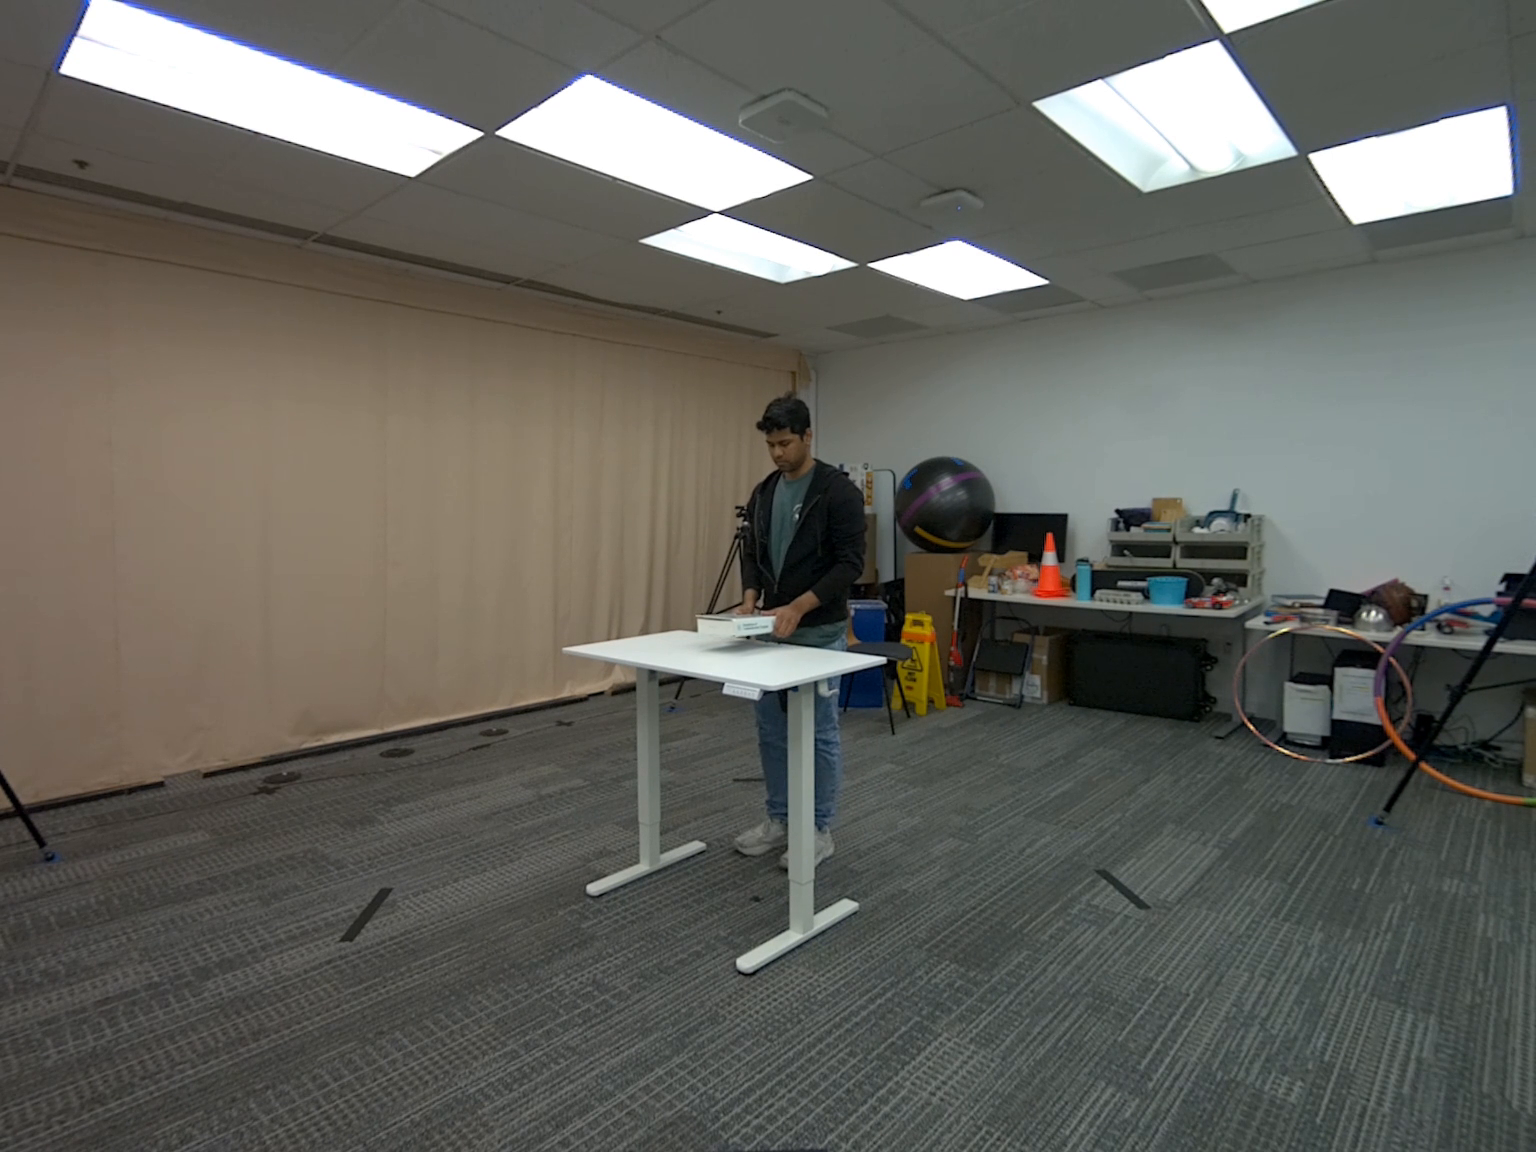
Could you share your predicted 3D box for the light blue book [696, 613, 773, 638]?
[{"bbox_3d":[-0.097,0.174,3.025,0.197,0.059,0.253,0,2,43],"label":"light blue book"}]
